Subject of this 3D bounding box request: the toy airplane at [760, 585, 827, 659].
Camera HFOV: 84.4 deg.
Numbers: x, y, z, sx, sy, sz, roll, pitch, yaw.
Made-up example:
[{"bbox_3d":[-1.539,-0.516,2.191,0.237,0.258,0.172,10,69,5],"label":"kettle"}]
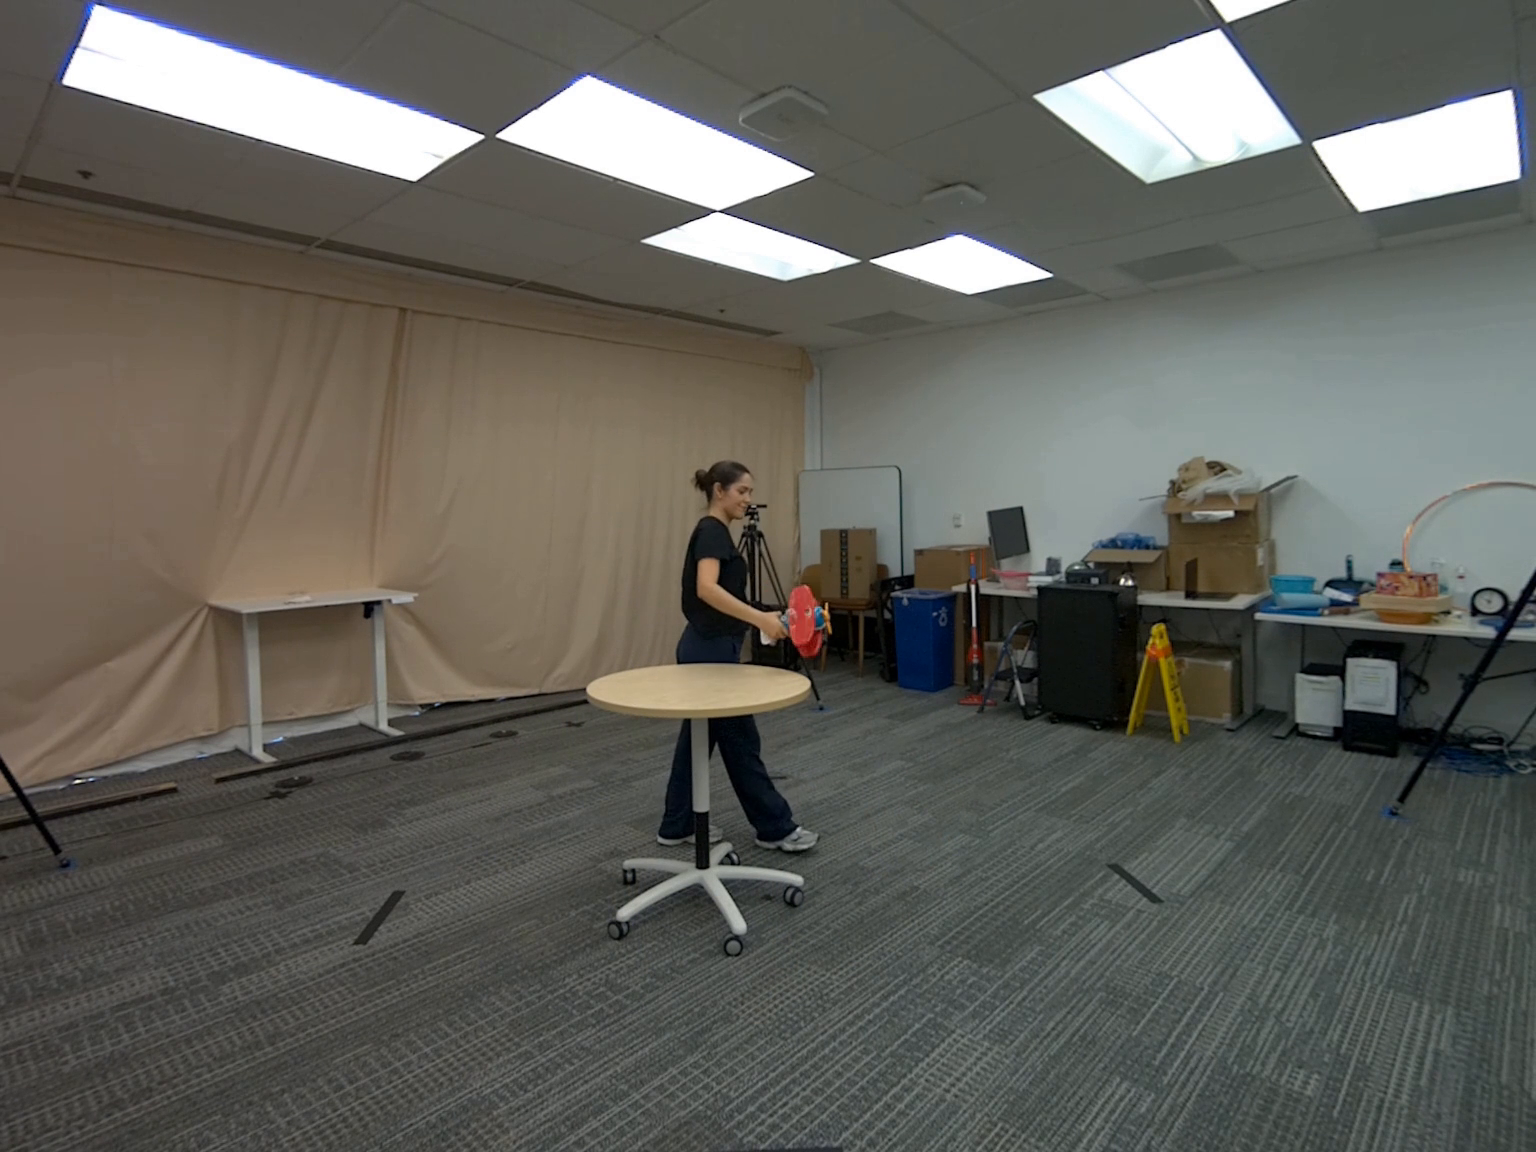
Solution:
[{"bbox_3d":[0.118,0.186,3.060,0.257,0.152,0.259,-27,52,-10],"label":"toy airplane"}]
